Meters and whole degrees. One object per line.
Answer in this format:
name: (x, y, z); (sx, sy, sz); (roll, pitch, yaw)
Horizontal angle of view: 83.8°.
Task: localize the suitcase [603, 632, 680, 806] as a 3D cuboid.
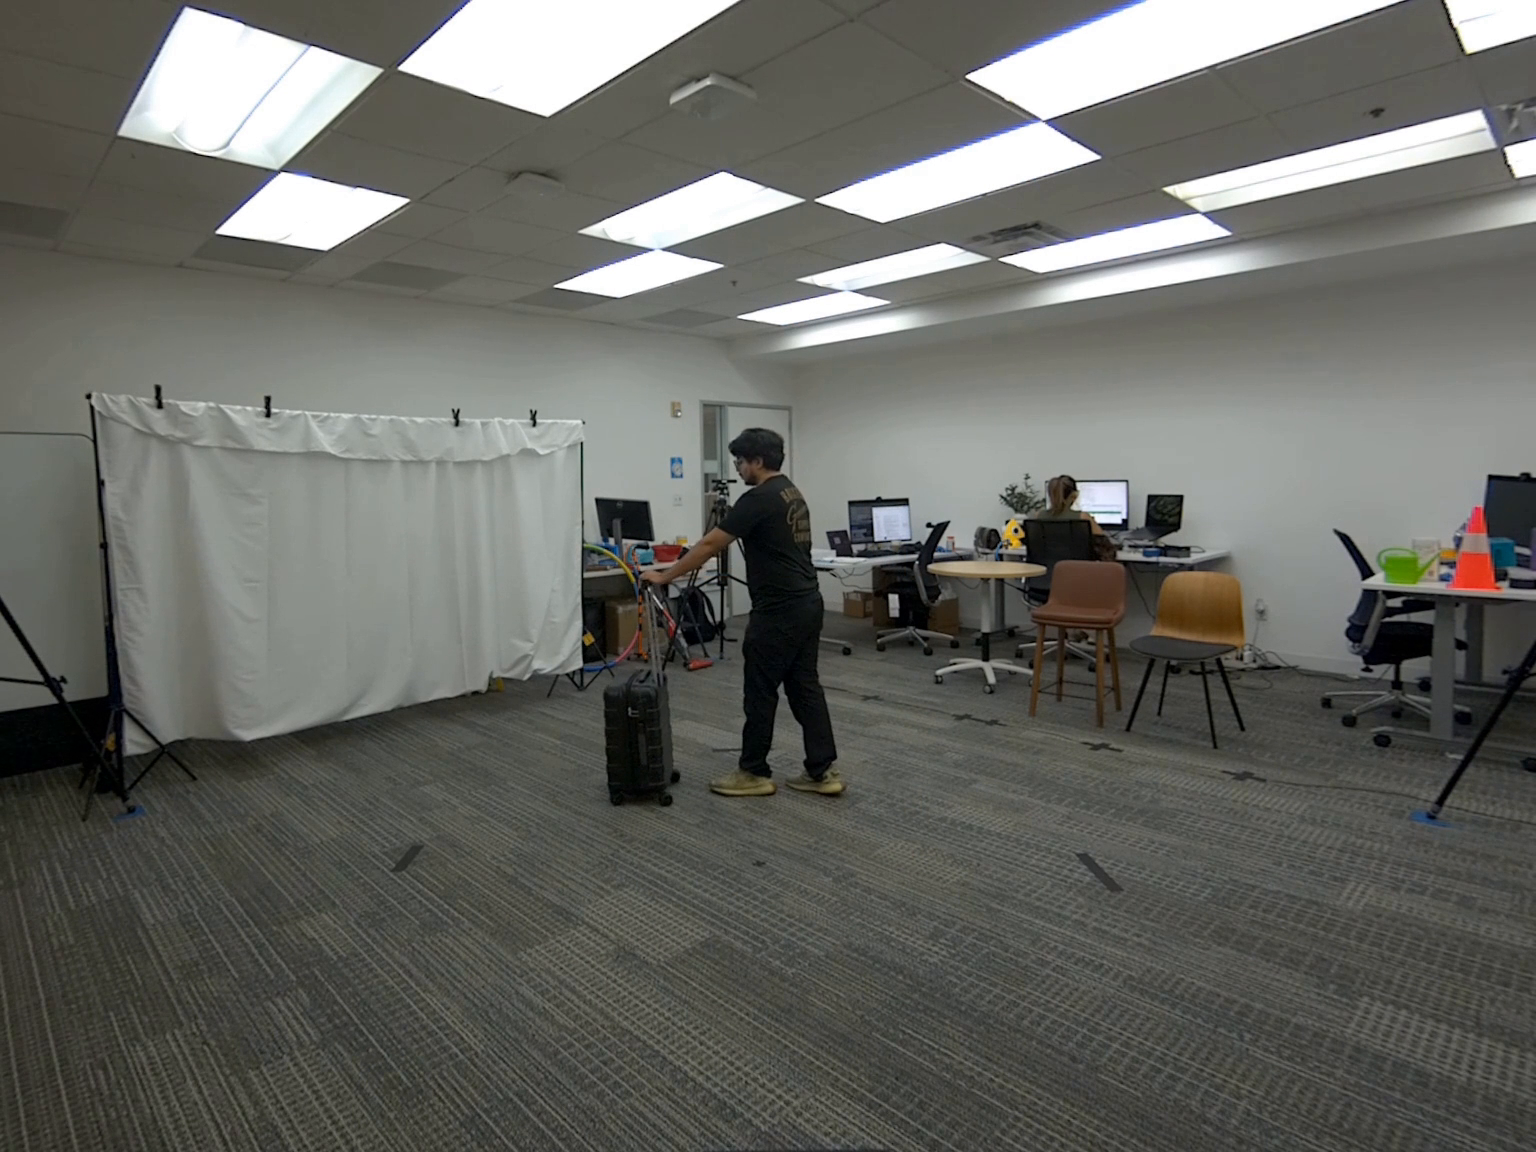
suitcase: (-0.588, 0.502, 3.815); (0.258, 0.975, 0.383); (-4, 3, 5)
